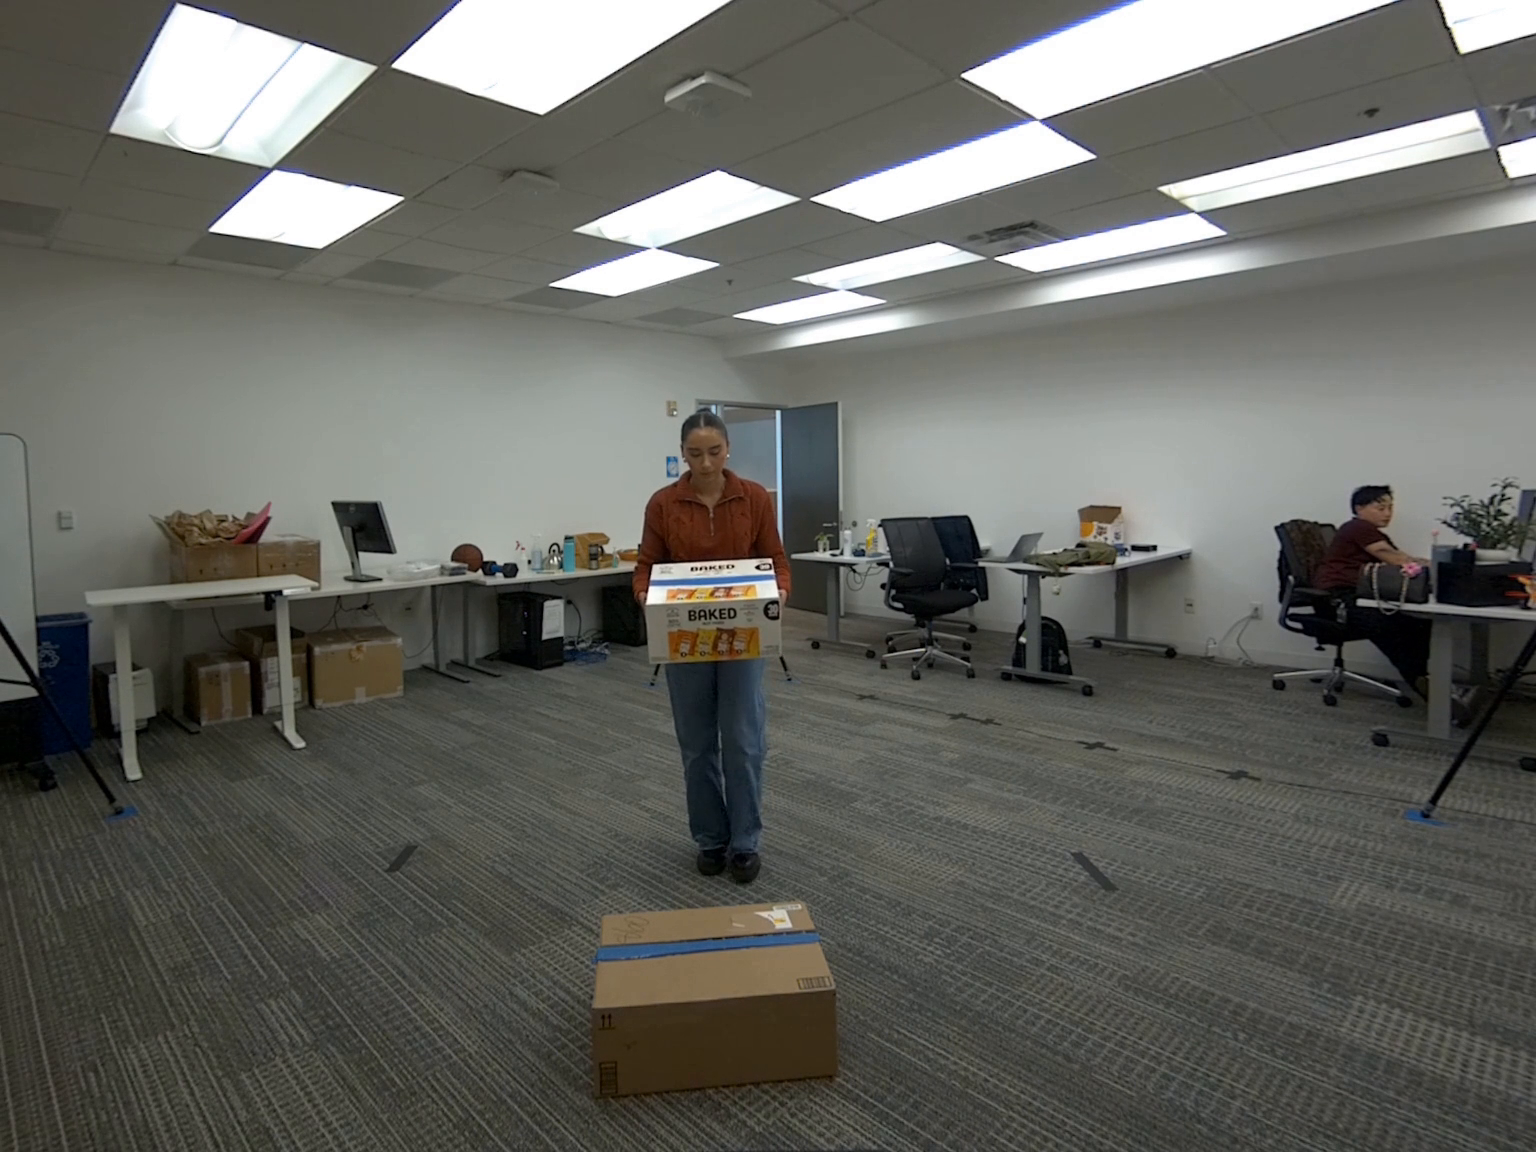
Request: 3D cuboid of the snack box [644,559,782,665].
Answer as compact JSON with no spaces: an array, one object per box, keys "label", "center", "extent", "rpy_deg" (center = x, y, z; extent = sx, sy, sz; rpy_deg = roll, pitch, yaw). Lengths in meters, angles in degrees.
[{"label":"snack box","center":[-0.179,0.103,2.732],"extent":[0.405,0.202,0.347],"rpy_deg":[-4,21,-2]}]
